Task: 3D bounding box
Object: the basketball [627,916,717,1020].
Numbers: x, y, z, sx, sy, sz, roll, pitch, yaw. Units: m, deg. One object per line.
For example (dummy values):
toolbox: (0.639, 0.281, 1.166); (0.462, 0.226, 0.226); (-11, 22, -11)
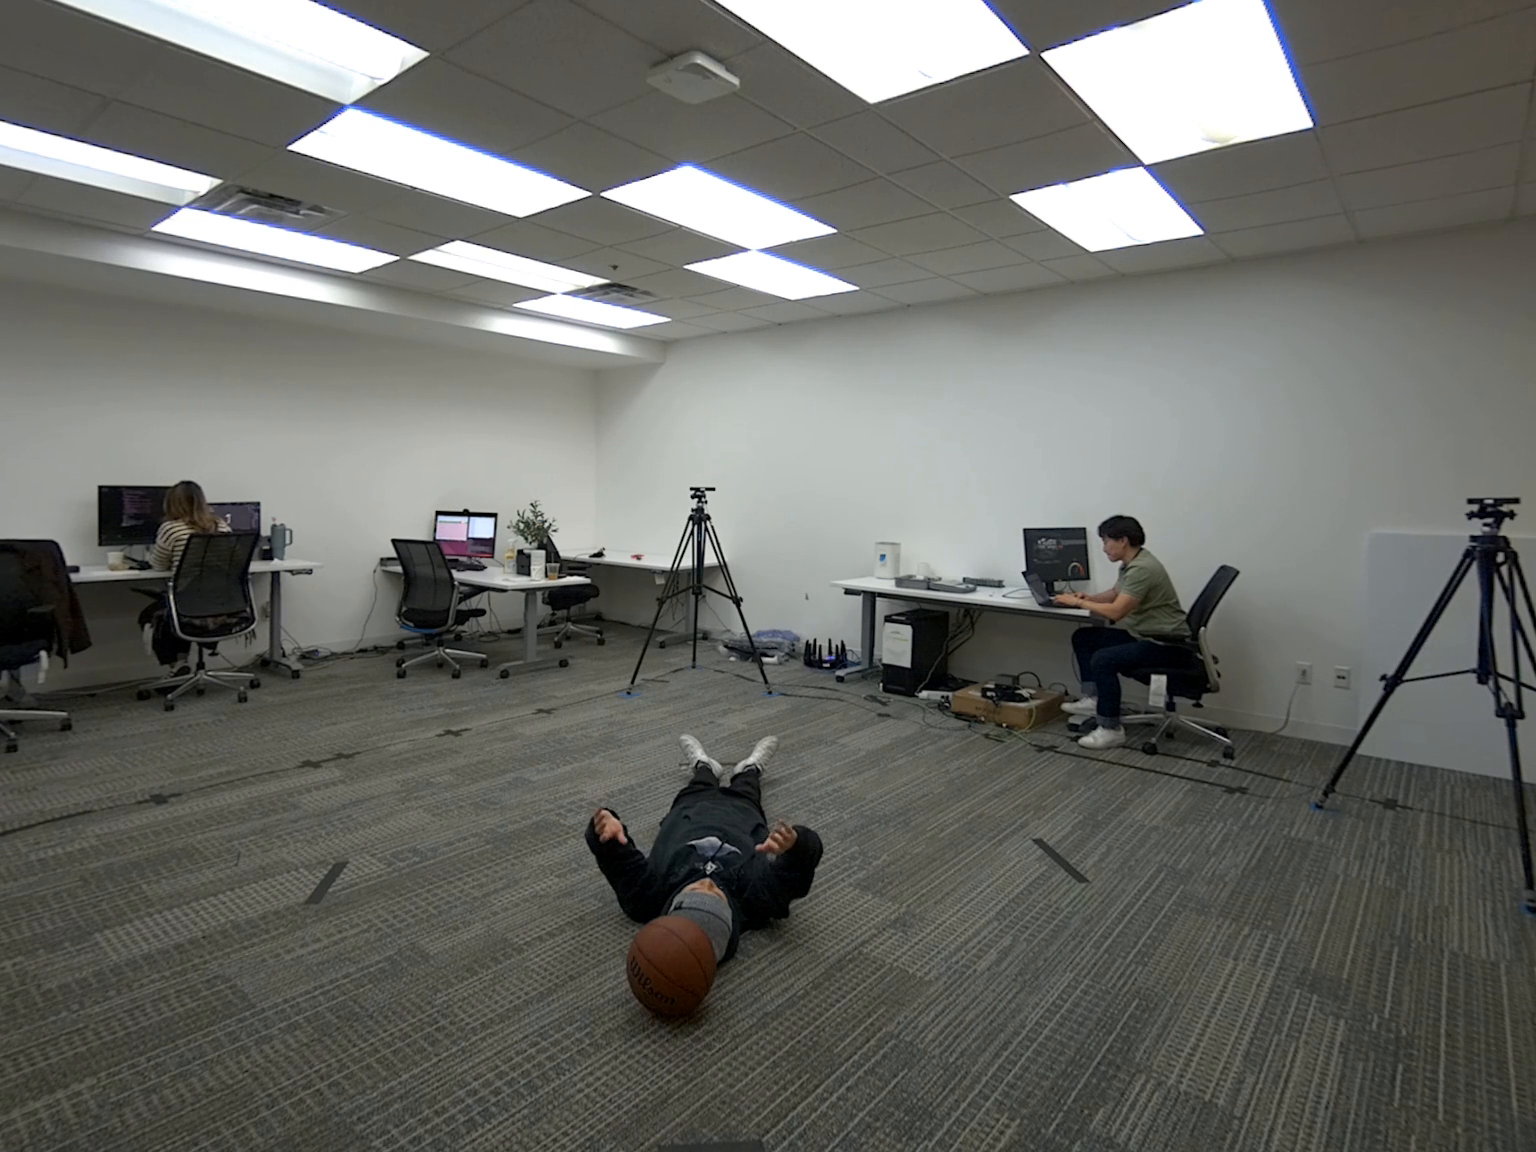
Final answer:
basketball: (-0.263, 1.027, 2.264); (0.235, 0.235, 0.237); (1, 4, -2)
